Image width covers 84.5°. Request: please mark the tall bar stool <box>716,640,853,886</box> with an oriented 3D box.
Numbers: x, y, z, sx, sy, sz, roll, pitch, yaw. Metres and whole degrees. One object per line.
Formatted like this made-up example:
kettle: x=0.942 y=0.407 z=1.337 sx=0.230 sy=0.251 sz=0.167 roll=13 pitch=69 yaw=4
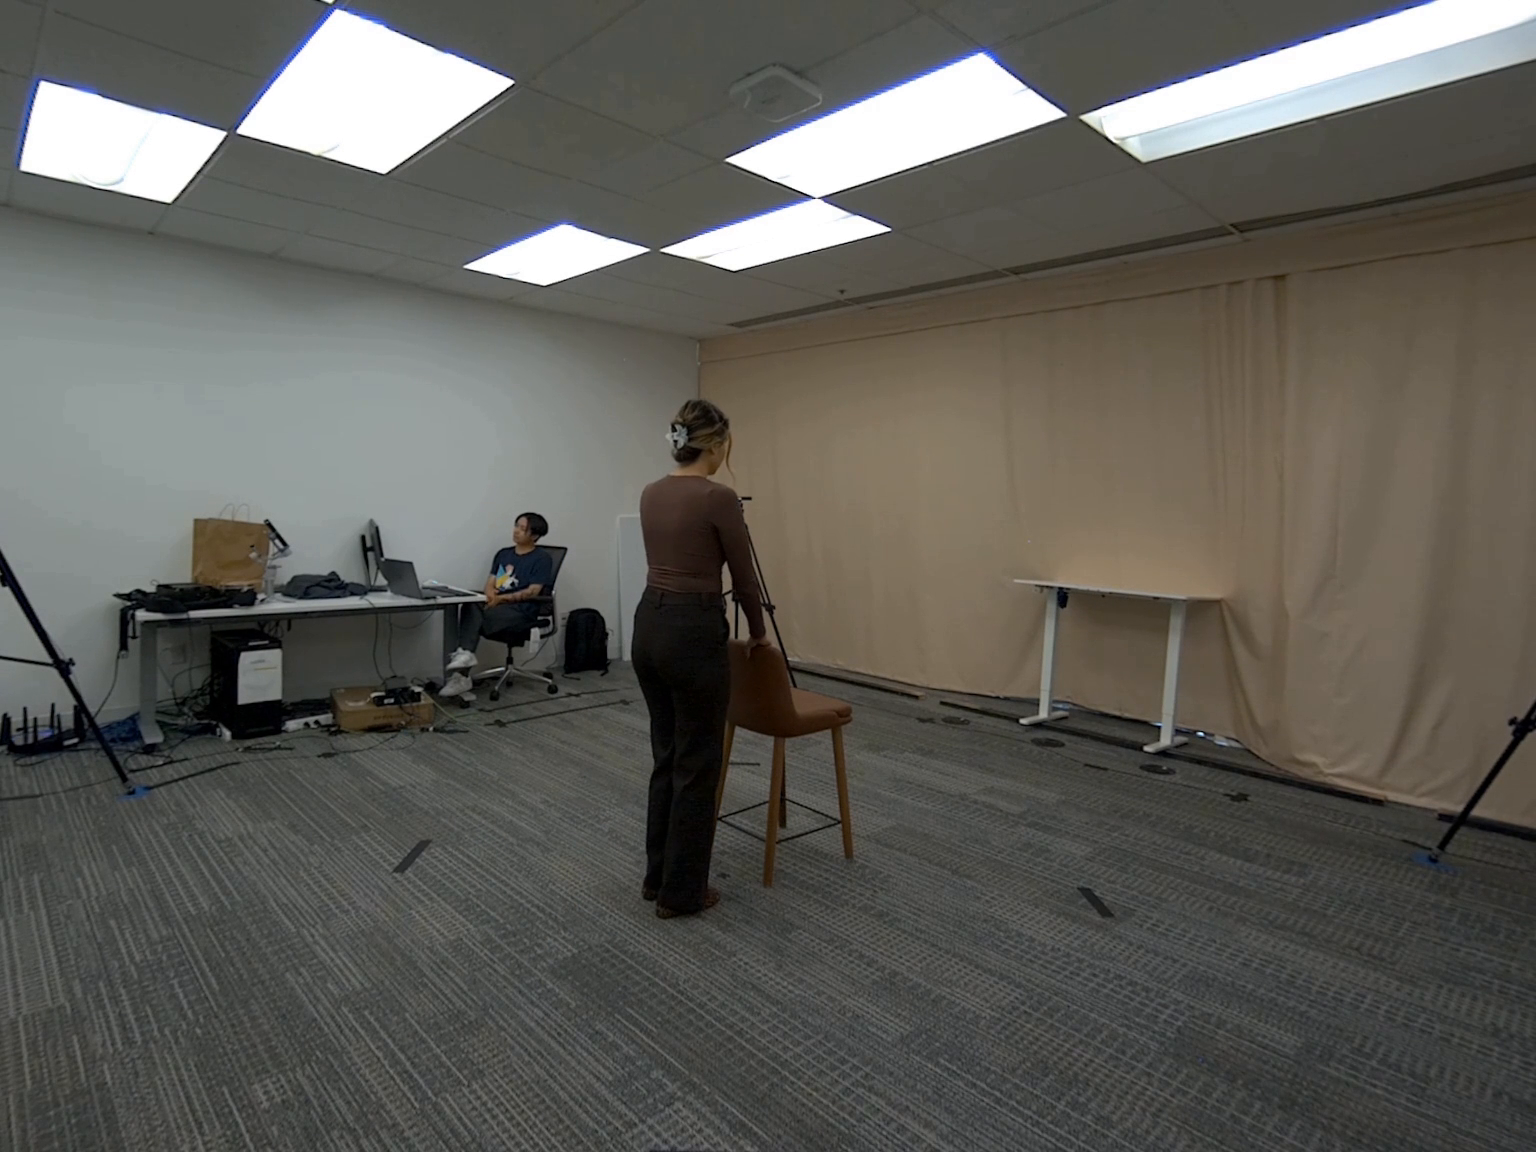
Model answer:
tall bar stool: x=0.033 y=0.658 z=3.273 sx=0.457 sy=0.887 sz=0.468 roll=-4 pitch=6 yaw=-41
